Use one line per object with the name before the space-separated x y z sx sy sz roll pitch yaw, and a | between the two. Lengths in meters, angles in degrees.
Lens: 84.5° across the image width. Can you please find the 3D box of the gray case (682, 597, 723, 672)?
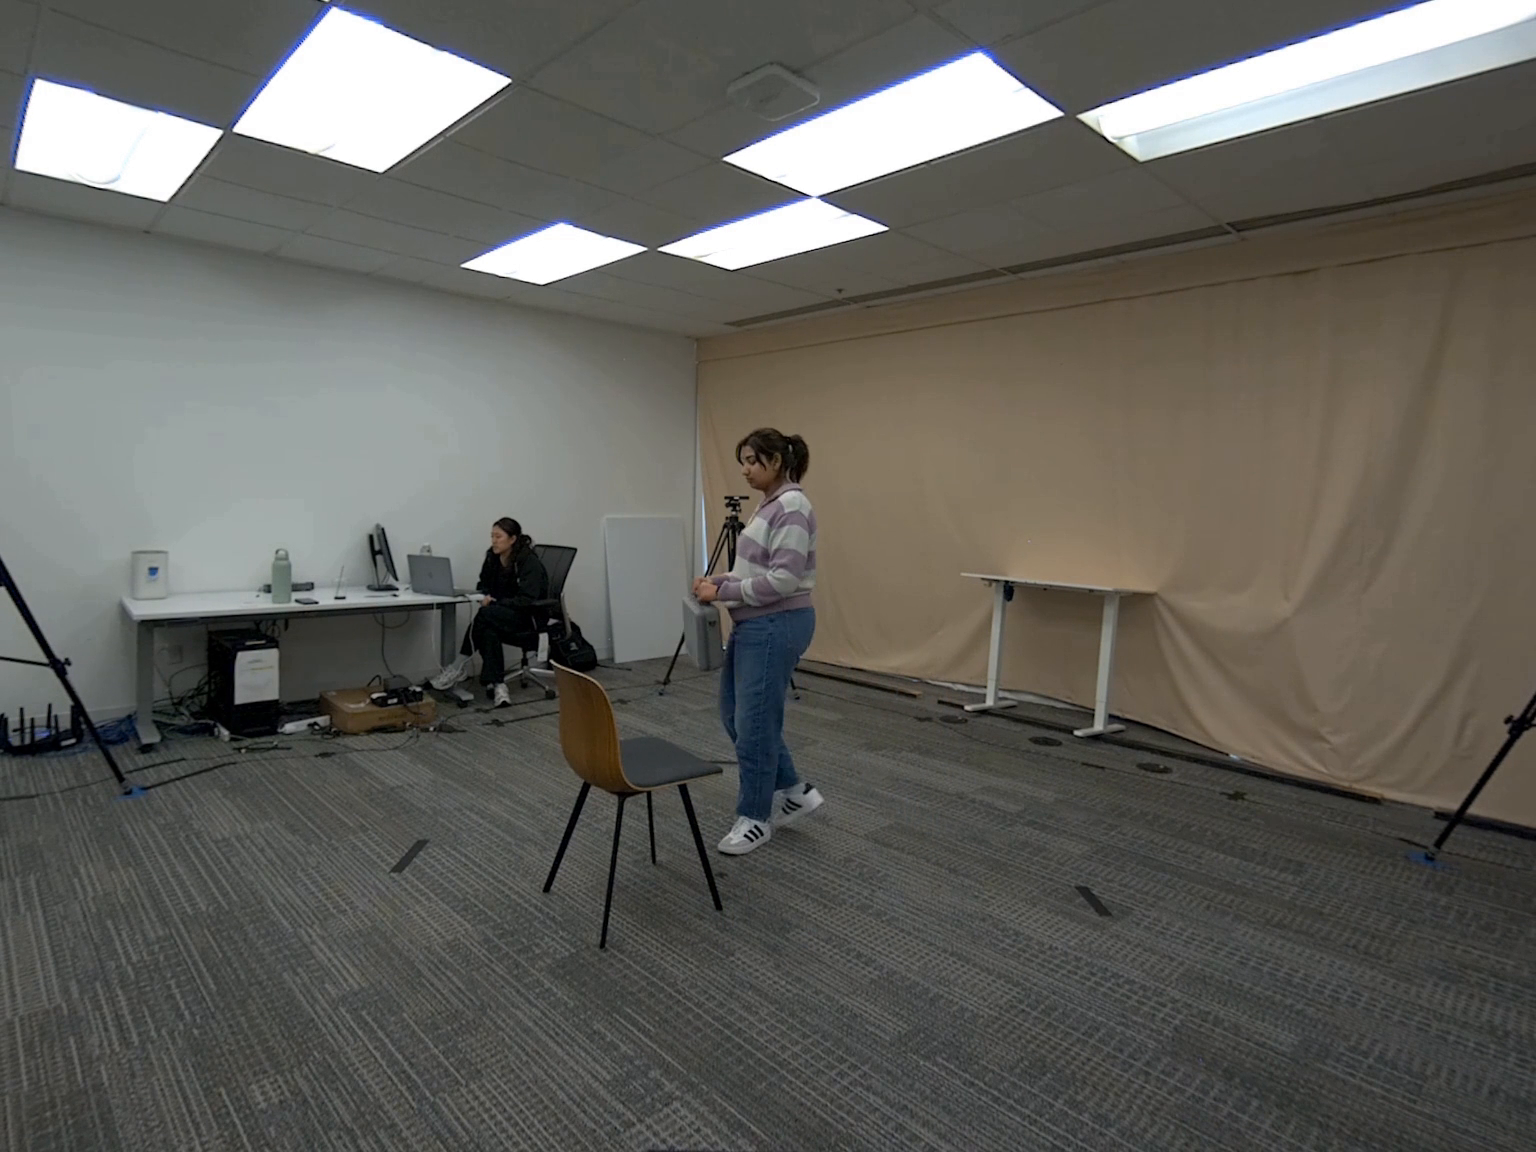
gray case | -0.260 0.212 3.329 0.103 0.258 0.262 -8 14 -14
